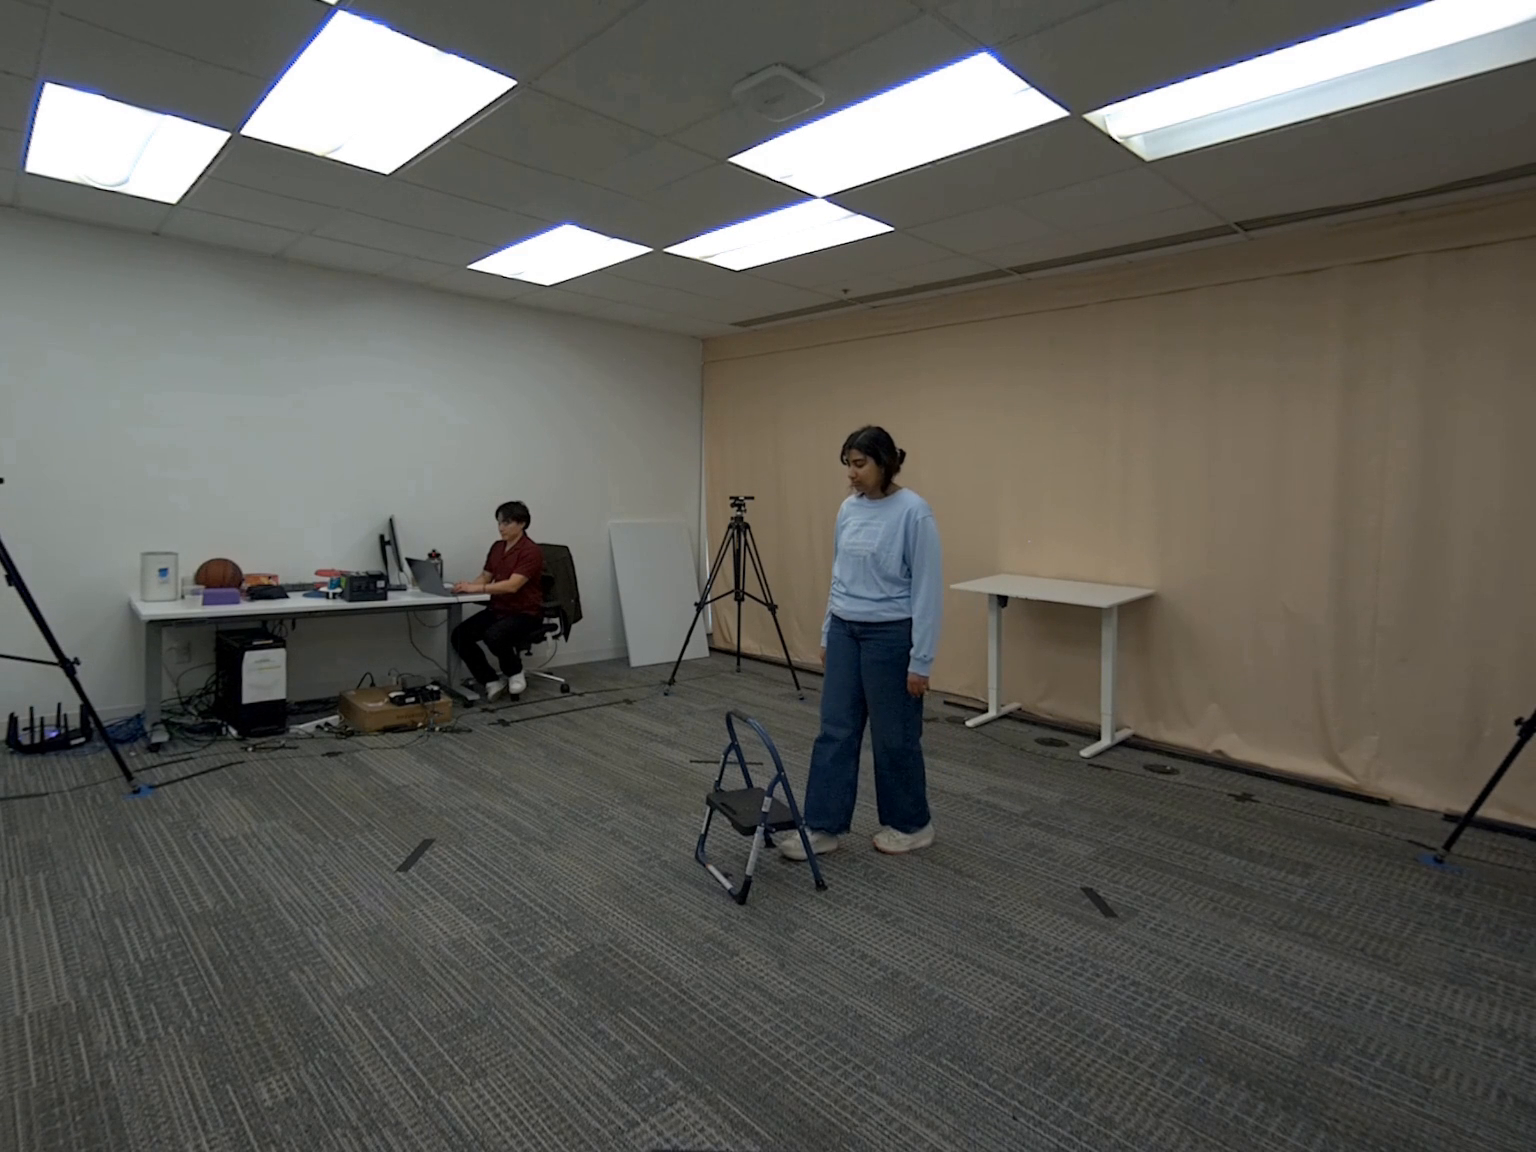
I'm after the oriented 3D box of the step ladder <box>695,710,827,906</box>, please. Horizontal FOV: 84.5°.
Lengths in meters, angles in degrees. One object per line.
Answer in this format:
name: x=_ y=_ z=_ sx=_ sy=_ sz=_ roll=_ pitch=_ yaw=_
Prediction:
step ladder: x=-0.037 y=0.799 z=3.114 sx=0.343 sy=0.605 sz=0.439 roll=0 pitch=3 yaw=-27
